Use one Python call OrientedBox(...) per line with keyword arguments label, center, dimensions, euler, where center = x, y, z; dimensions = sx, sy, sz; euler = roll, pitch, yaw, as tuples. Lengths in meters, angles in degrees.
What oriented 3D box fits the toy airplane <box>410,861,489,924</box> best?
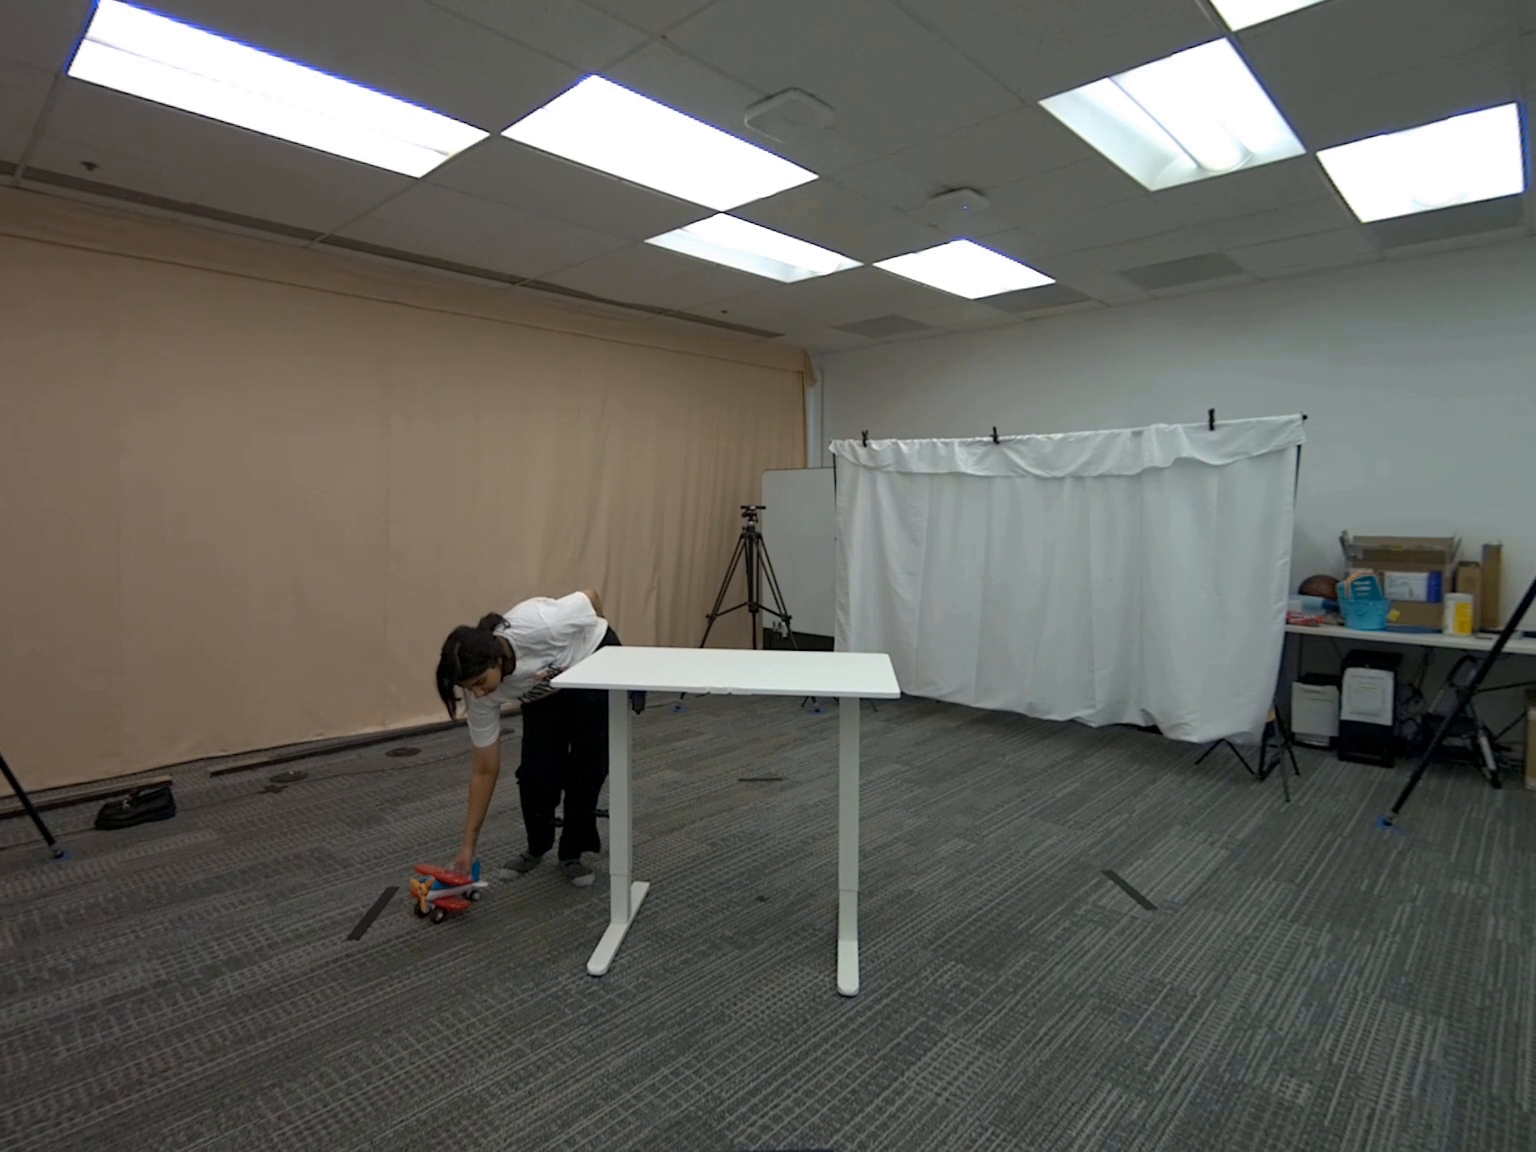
OrientedBox(label="toy airplane", center=(-1.130, 1.089, 2.921), dimensions=(0.253, 0.156, 0.258), euler=(-1, 4, 5))
